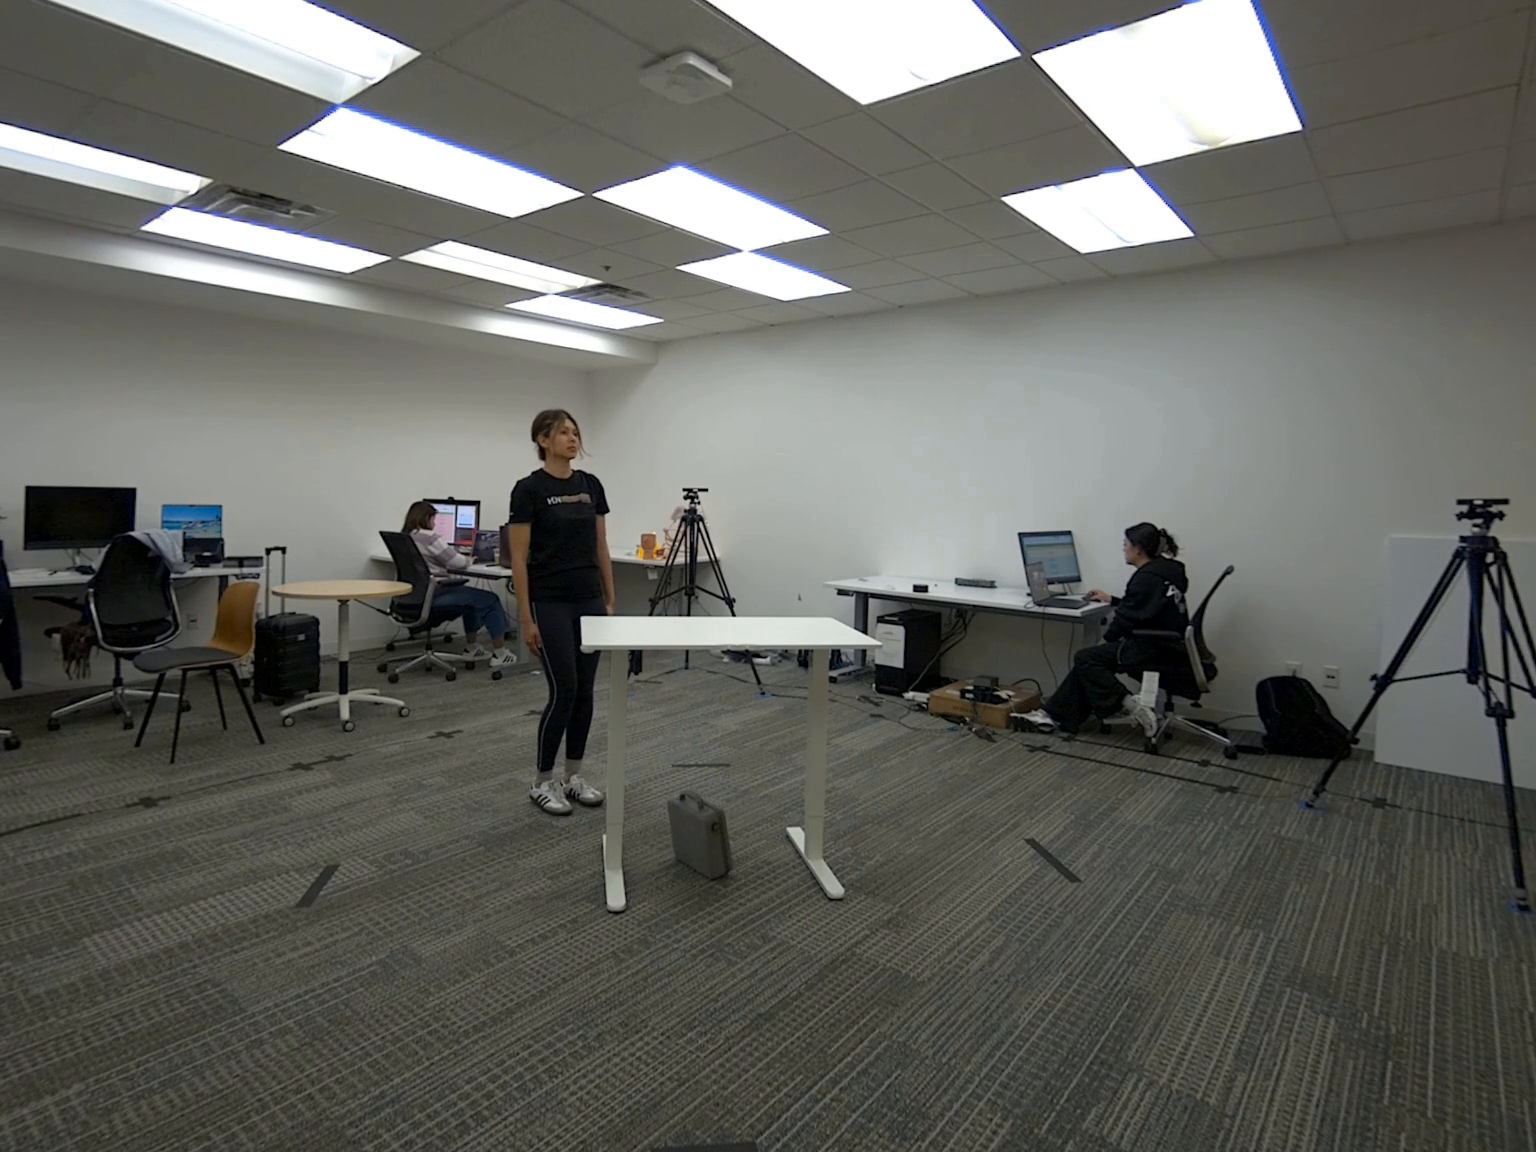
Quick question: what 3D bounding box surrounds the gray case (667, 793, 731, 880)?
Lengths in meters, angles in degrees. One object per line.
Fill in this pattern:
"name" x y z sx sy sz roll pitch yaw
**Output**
"gray case" -0.261 0.939 3.108 0.102 0.258 0.265 -14 12 -37
